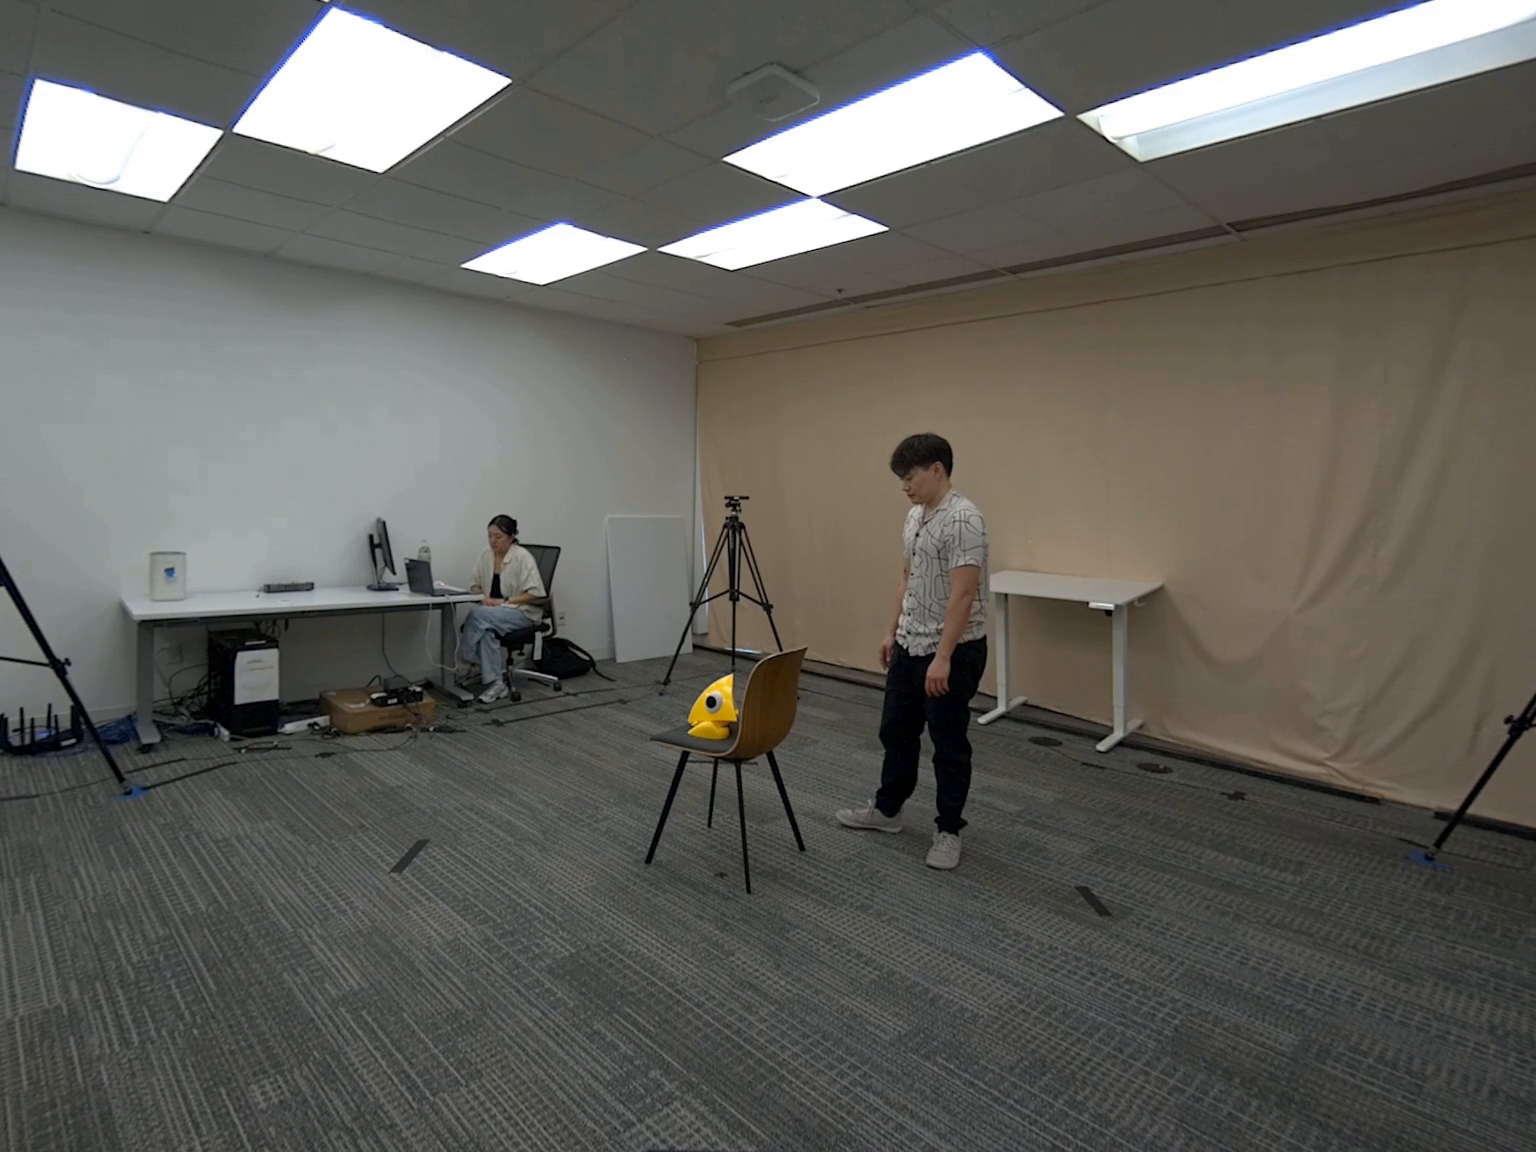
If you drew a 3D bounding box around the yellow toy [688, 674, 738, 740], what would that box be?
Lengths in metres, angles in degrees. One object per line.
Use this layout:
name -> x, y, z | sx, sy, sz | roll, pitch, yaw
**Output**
yellow toy -> -0.212, 0.490, 3.277 | 0.193, 0.229, 0.206 | 6, 7, -2
